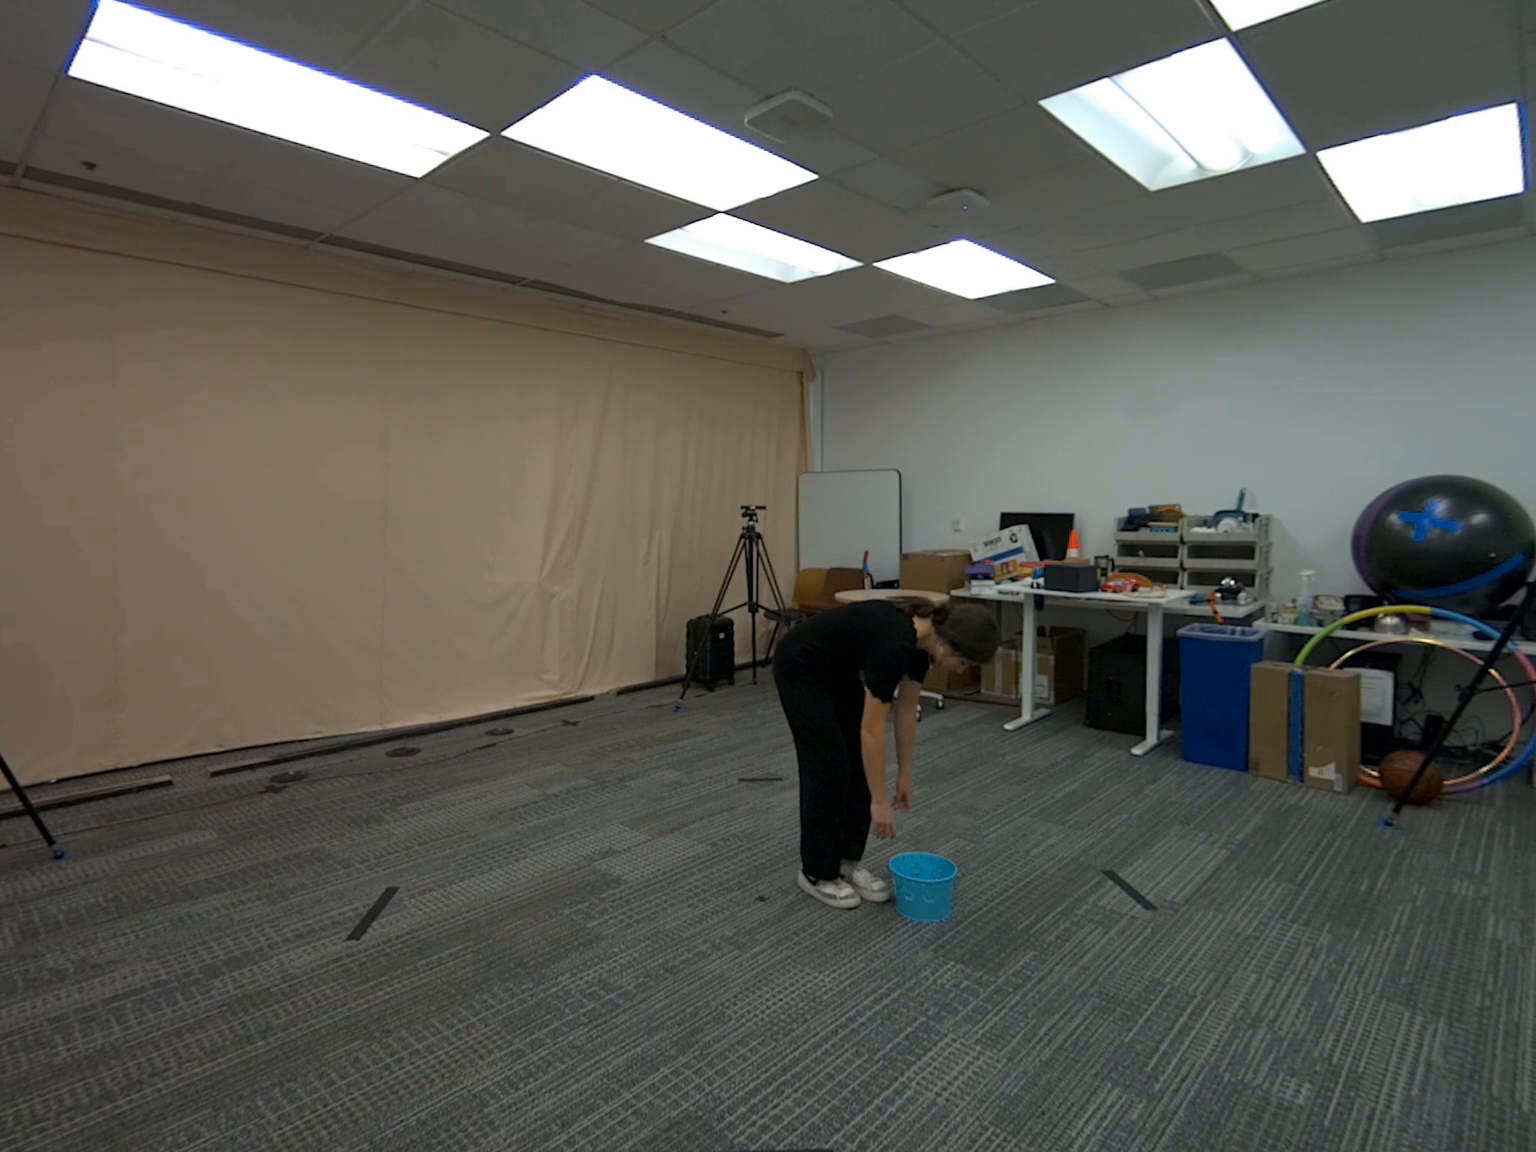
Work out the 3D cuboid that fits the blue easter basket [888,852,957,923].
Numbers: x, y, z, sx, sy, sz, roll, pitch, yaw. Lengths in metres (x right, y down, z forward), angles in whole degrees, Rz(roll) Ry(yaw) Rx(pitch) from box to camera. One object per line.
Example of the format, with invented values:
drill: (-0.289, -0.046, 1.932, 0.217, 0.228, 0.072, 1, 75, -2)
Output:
blue easter basket: (0.543, 1.071, 2.895, 0.243, 0.155, 0.244, 0, 4, -2)
